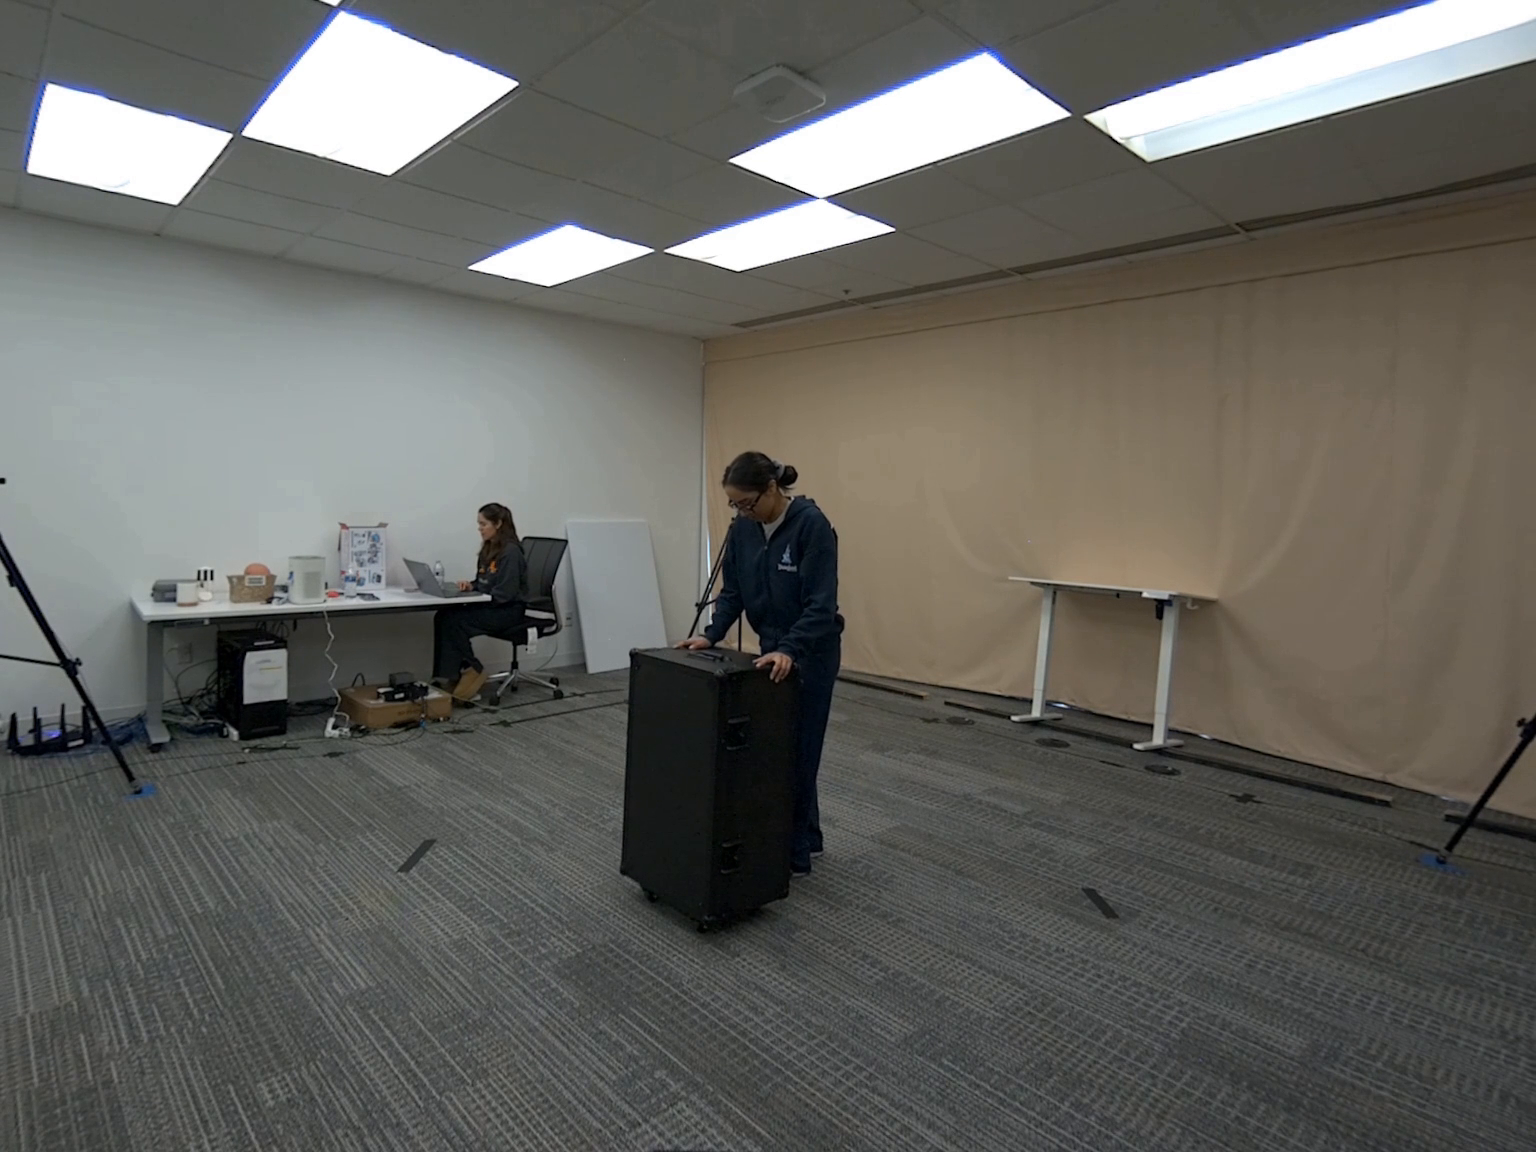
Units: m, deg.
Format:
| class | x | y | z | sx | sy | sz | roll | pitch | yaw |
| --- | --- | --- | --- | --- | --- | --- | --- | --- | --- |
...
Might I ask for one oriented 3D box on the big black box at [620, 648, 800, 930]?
| class | x | y | z | sx | sy | sz | roll | pitch | yaw |
| --- | --- | --- | --- | --- | --- | --- | --- | --- | --- |
| big black box | -0.208 | 0.701 | 2.863 | 0.387 | 0.860 | 0.534 | 0 | 3 | -43 |
